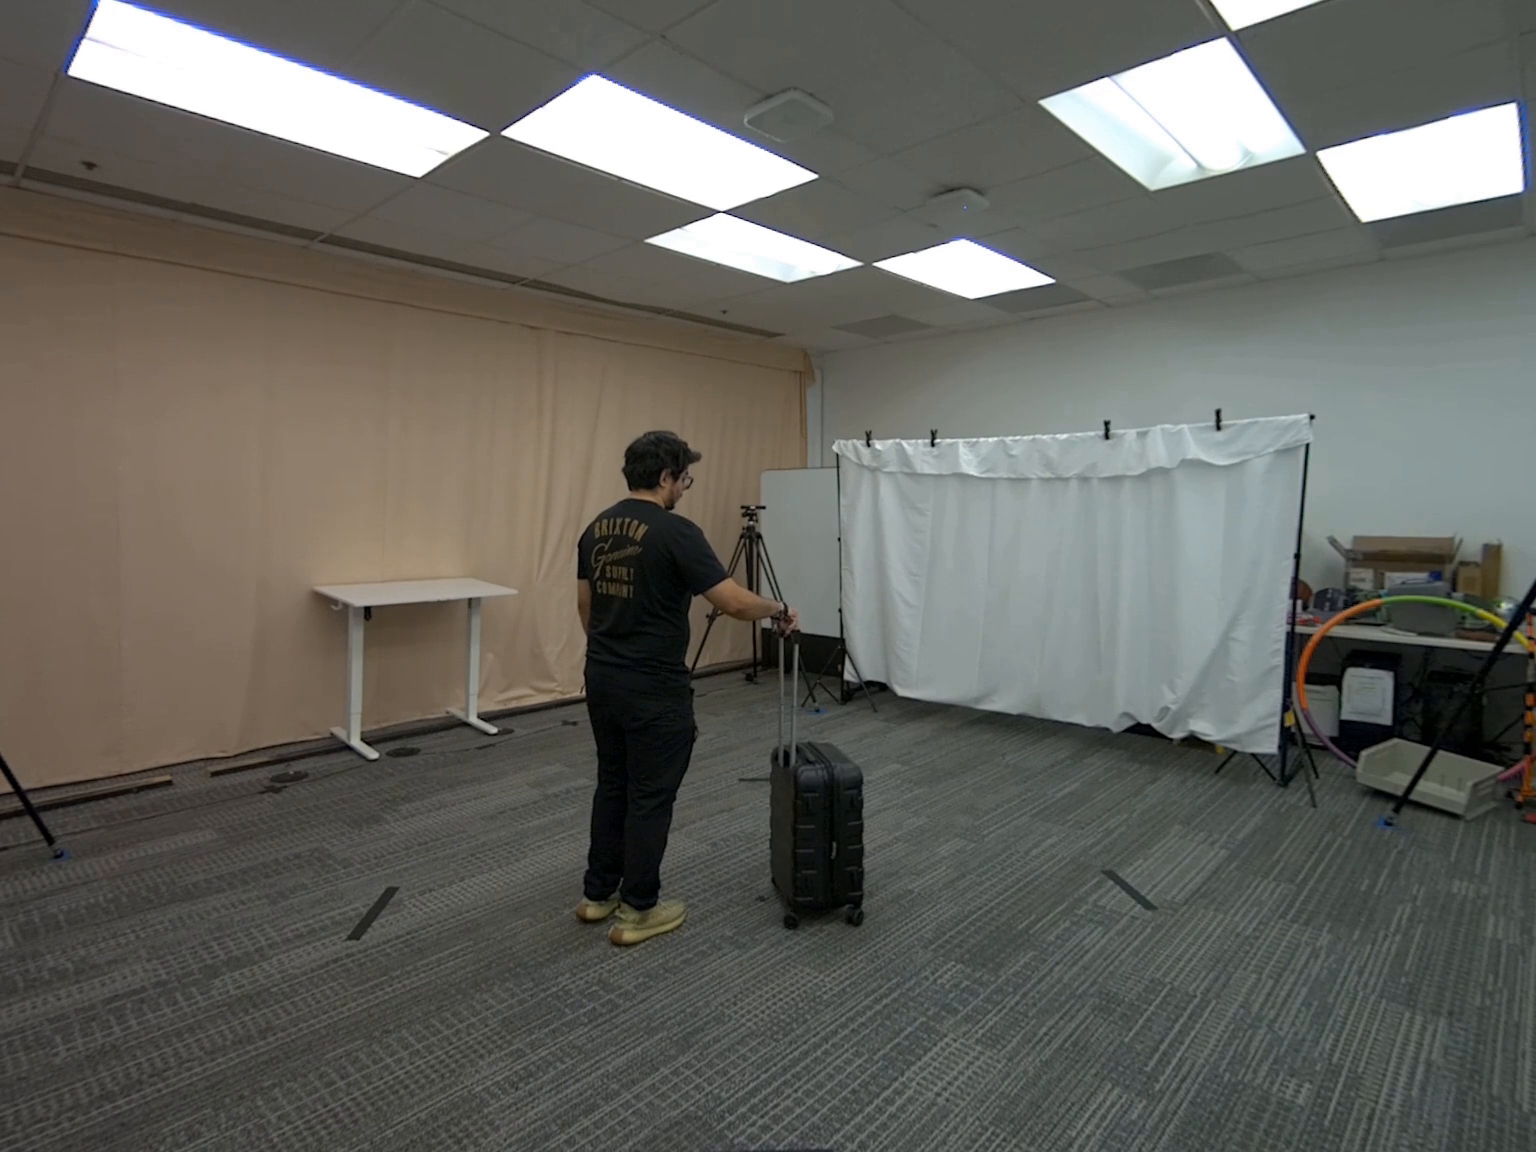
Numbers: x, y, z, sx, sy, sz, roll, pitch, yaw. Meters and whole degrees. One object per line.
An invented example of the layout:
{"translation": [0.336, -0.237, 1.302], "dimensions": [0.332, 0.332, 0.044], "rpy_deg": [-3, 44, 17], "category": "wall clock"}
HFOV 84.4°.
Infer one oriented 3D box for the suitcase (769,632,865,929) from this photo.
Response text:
{"translation": [0.177, 0.673, 2.915], "dimensions": [0.254, 0.977, 0.389], "rpy_deg": [3, 2, -12], "category": "suitcase"}
